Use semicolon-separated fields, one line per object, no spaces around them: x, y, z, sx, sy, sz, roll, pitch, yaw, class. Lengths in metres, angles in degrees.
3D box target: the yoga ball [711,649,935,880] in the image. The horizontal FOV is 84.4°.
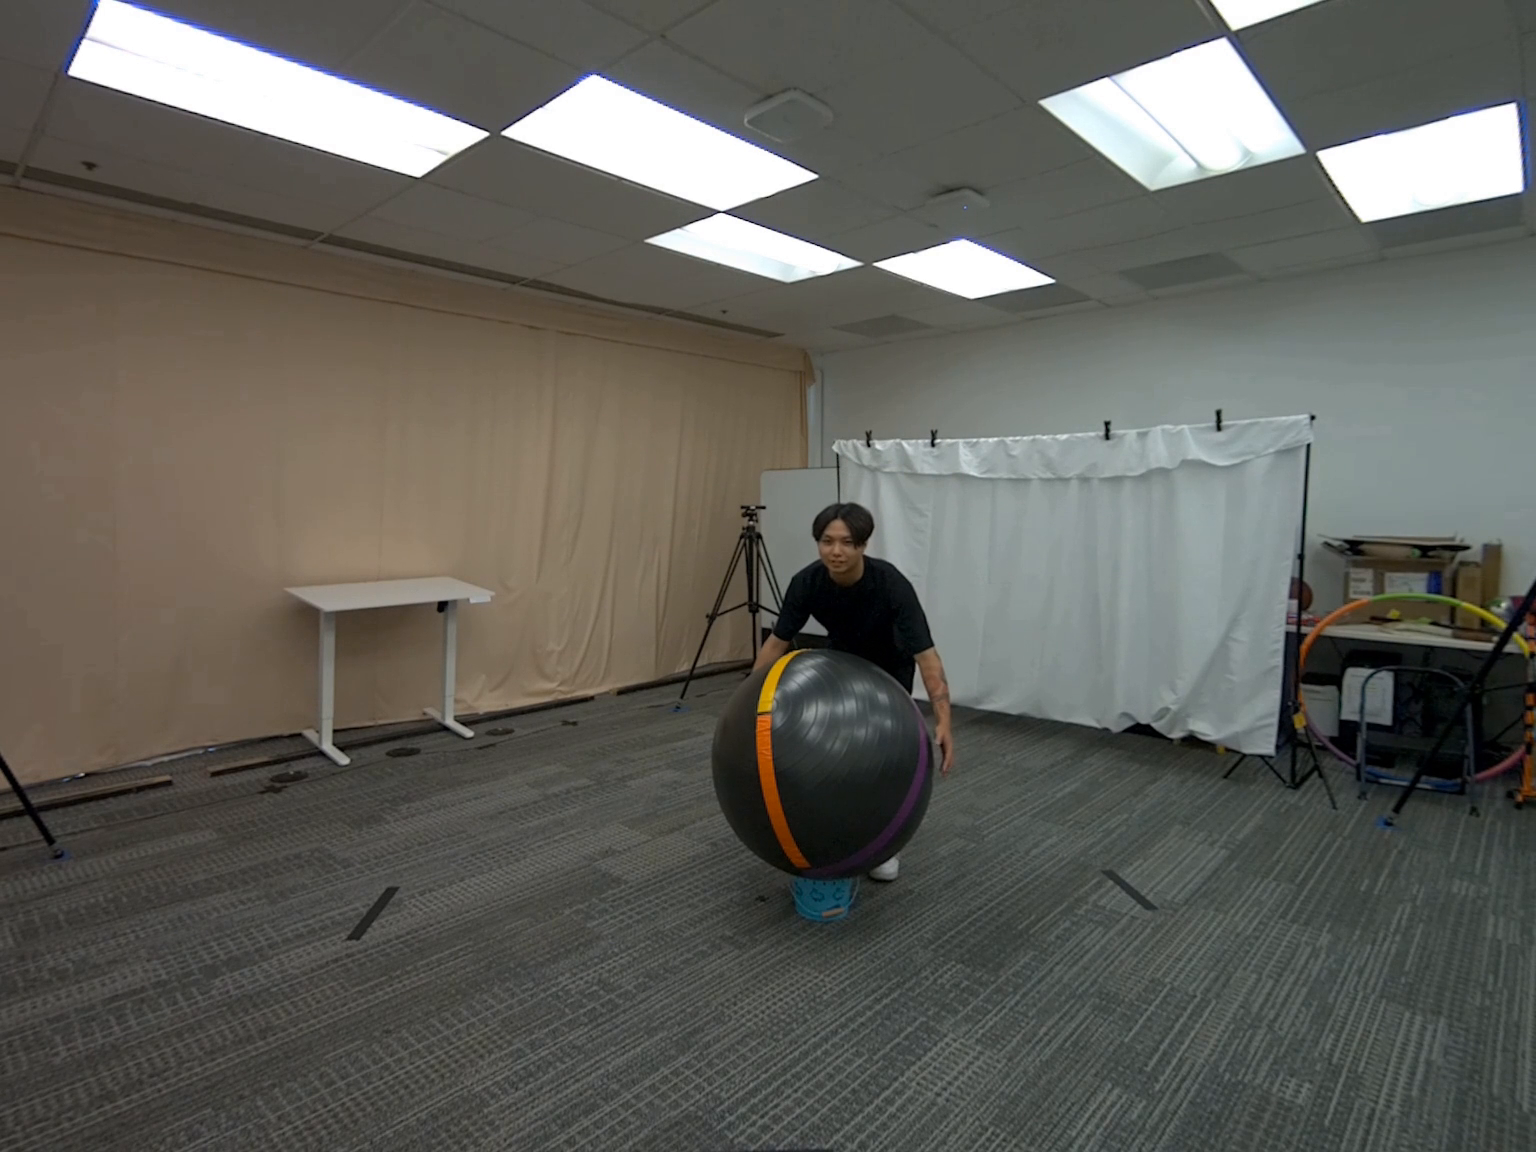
0.186;0.636;2.886;0.757;0.756;0.760;0;4;-2;yoga ball
